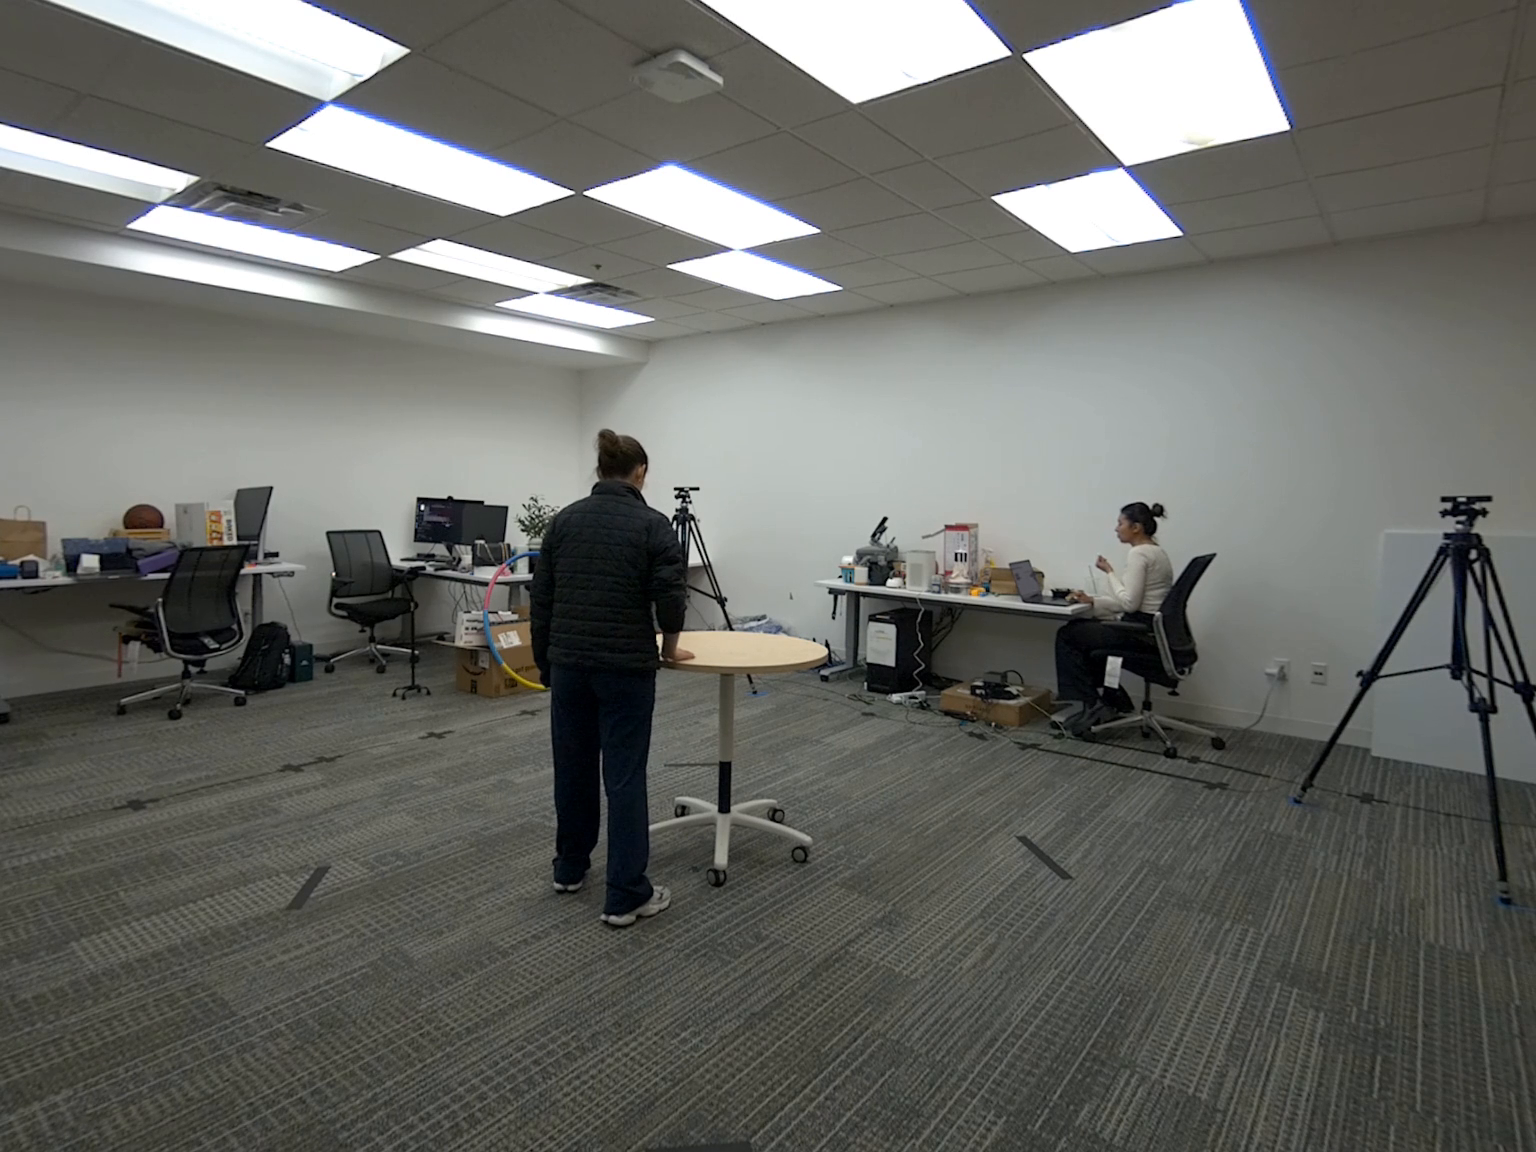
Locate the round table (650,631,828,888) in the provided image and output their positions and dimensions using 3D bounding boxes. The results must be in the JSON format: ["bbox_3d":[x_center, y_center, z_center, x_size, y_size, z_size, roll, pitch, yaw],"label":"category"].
[{"bbox_3d":[-0.134,0.656,3.287,0.784,0.784,0.789,1,4,-2],"label":"round table"}]
